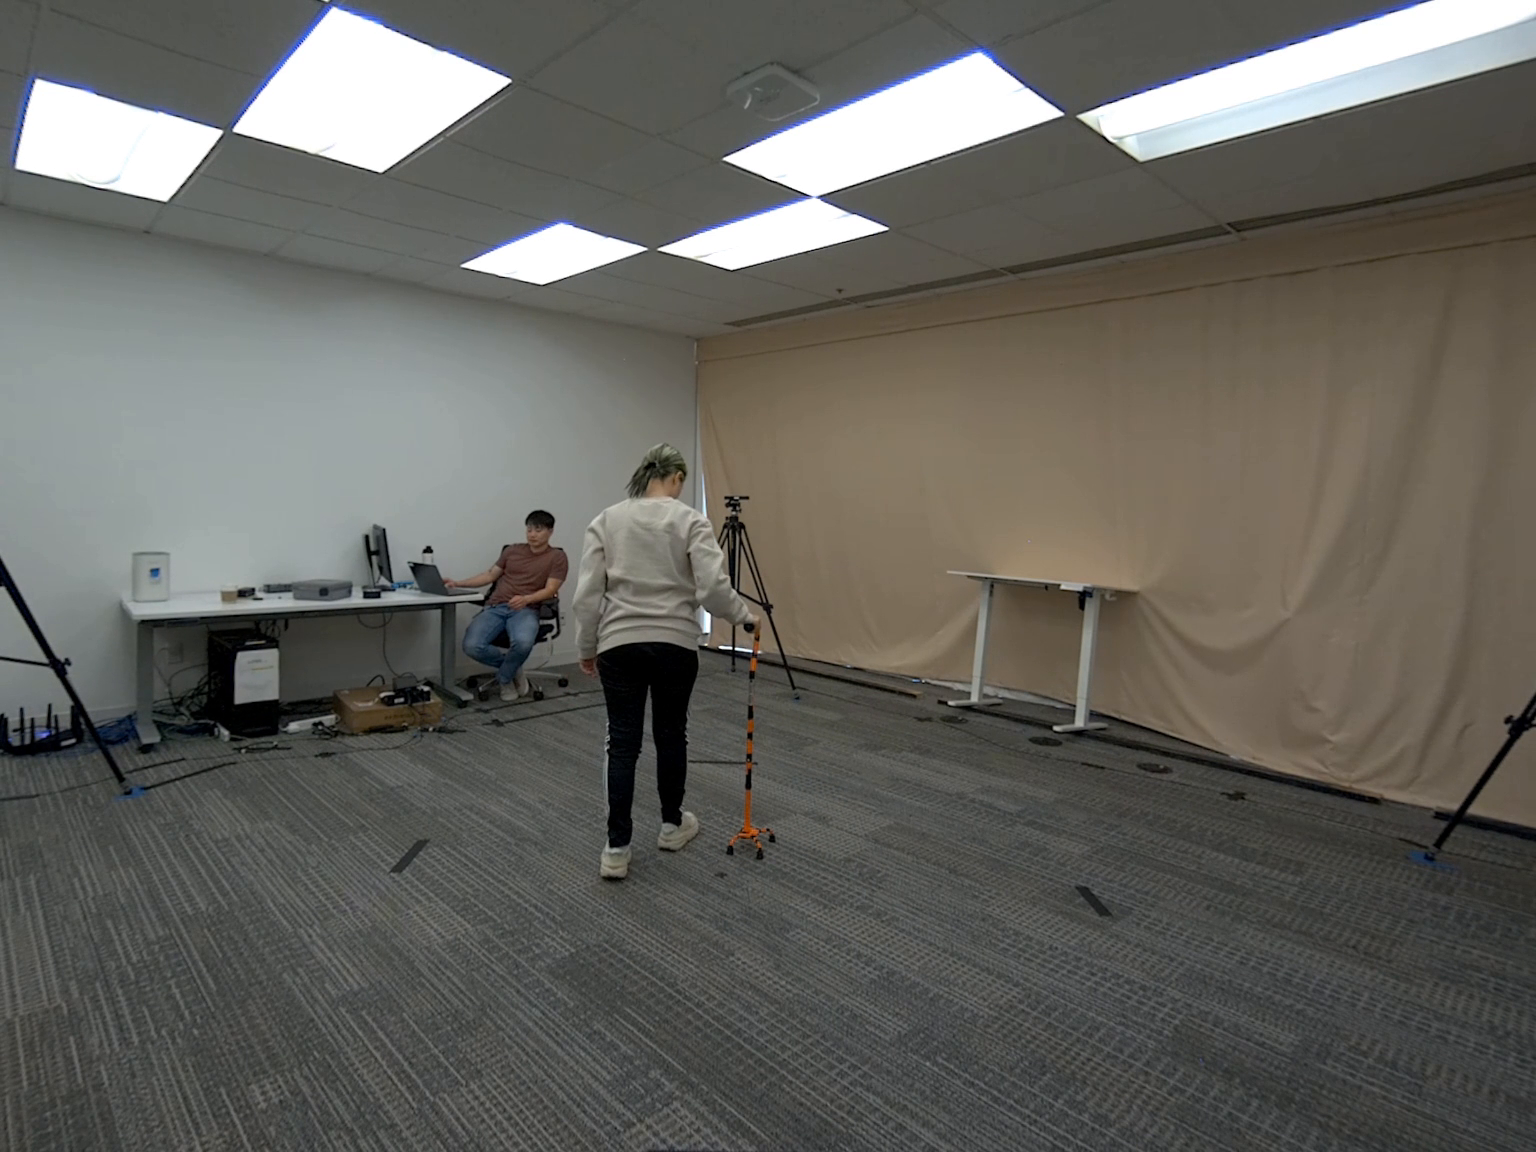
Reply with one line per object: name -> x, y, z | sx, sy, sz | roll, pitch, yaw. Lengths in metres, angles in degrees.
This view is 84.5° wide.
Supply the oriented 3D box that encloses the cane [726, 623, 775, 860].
cane -> -0.065, 0.624, 3.340 | 0.154, 0.906, 0.204 | 3, 2, 16
